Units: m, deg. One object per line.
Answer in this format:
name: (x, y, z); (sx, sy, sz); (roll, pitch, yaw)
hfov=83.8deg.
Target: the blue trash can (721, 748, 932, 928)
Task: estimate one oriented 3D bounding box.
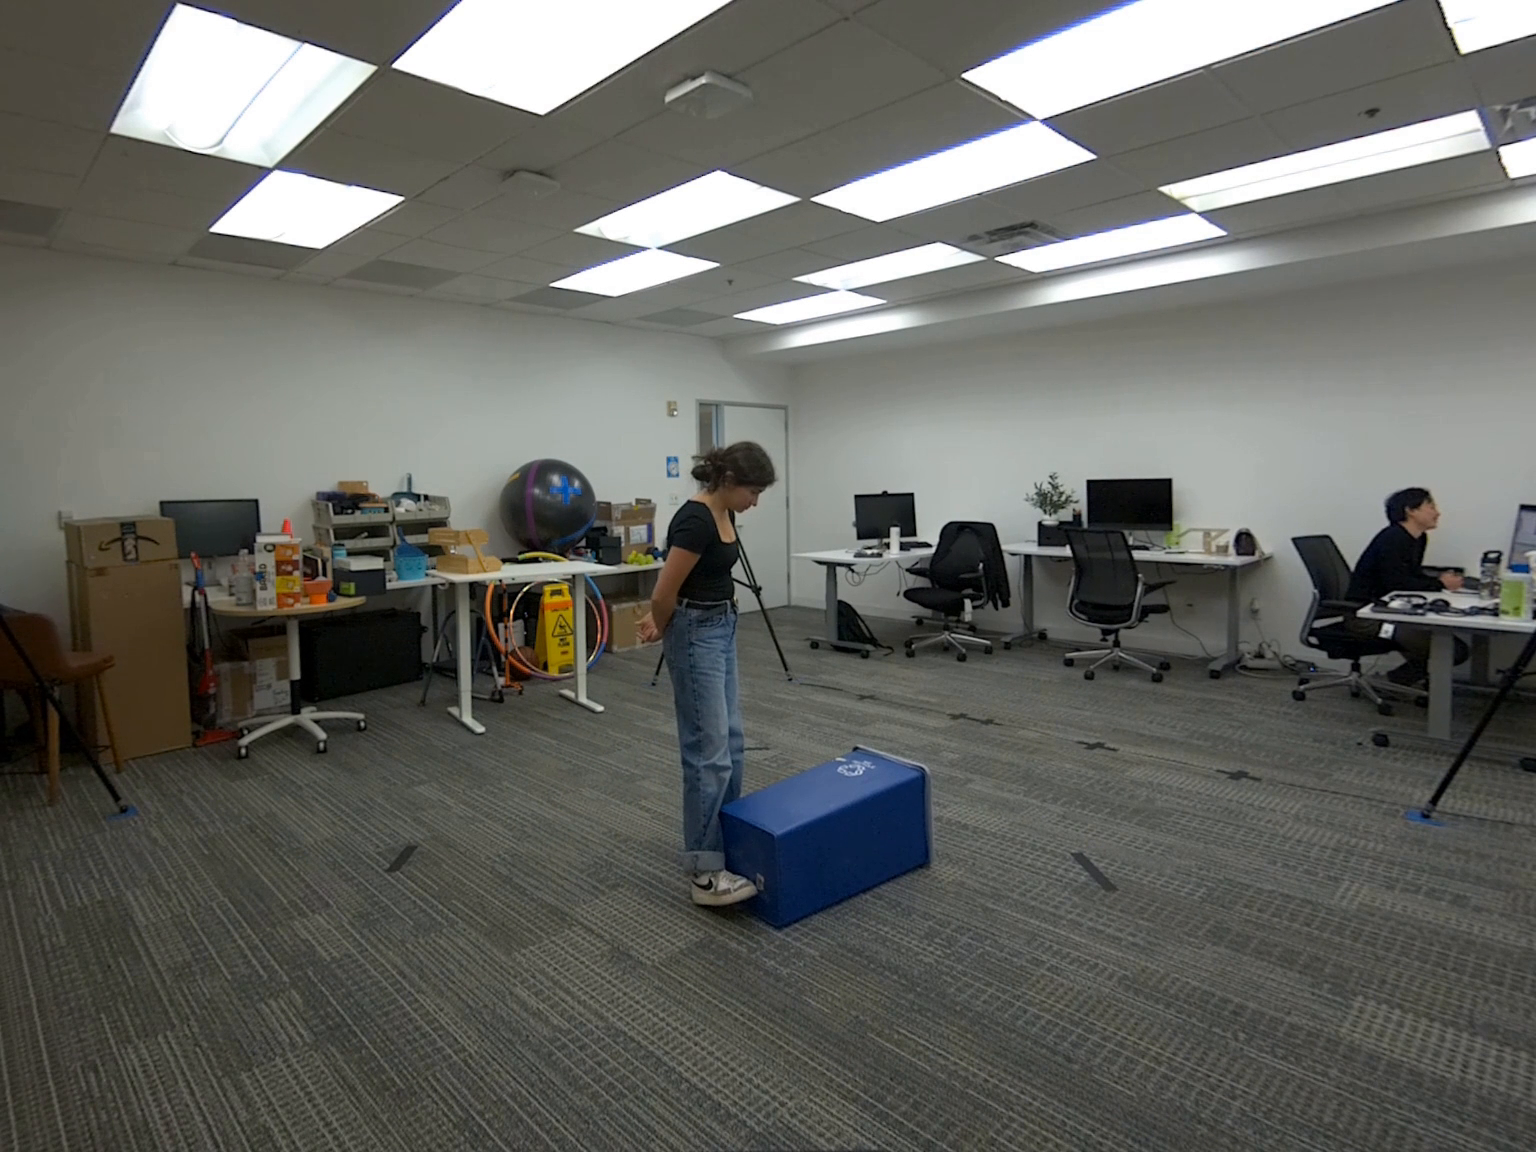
blue trash can: (0.206, 0.890, 2.955); (0.696, 0.376, 0.385); (-10, 9, -41)
